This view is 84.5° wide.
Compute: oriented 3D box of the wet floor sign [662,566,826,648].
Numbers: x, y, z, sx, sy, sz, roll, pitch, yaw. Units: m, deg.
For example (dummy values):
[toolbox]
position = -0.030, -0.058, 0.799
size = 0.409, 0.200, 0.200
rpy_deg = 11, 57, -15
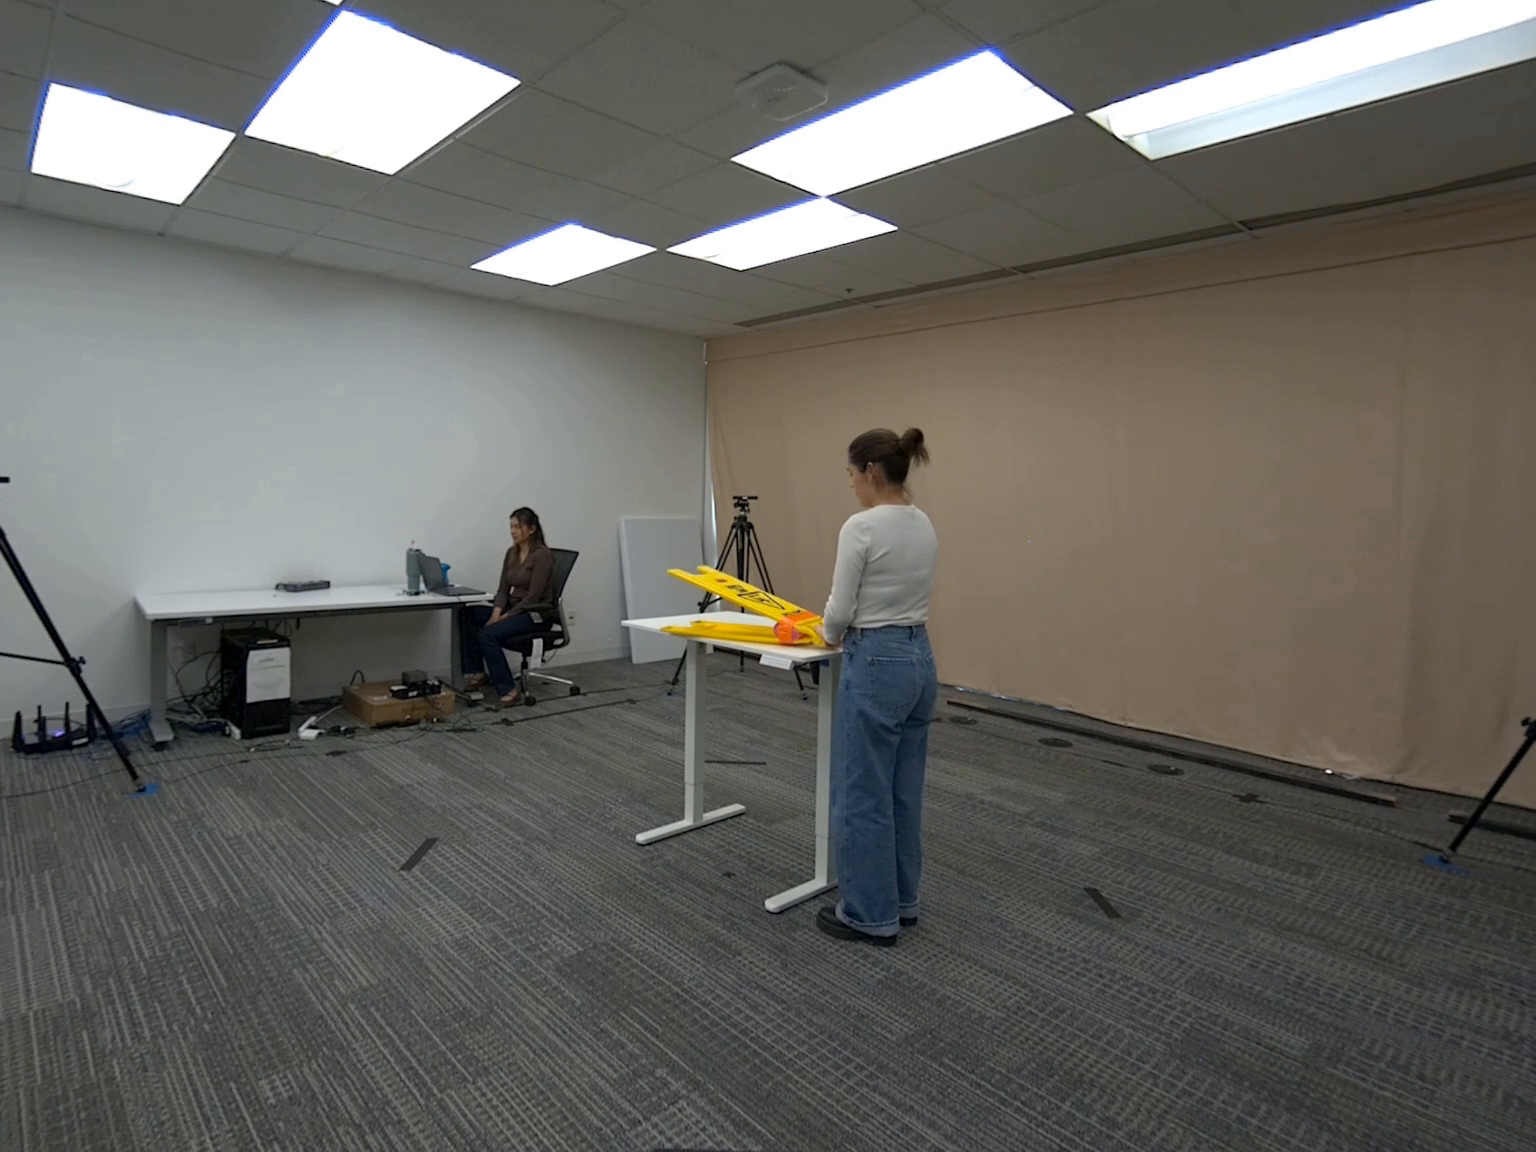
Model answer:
[wet floor sign]
position = -0.039, 0.160, 3.056
size = 0.662, 0.288, 0.277
rpy_deg = 13, 10, 30
